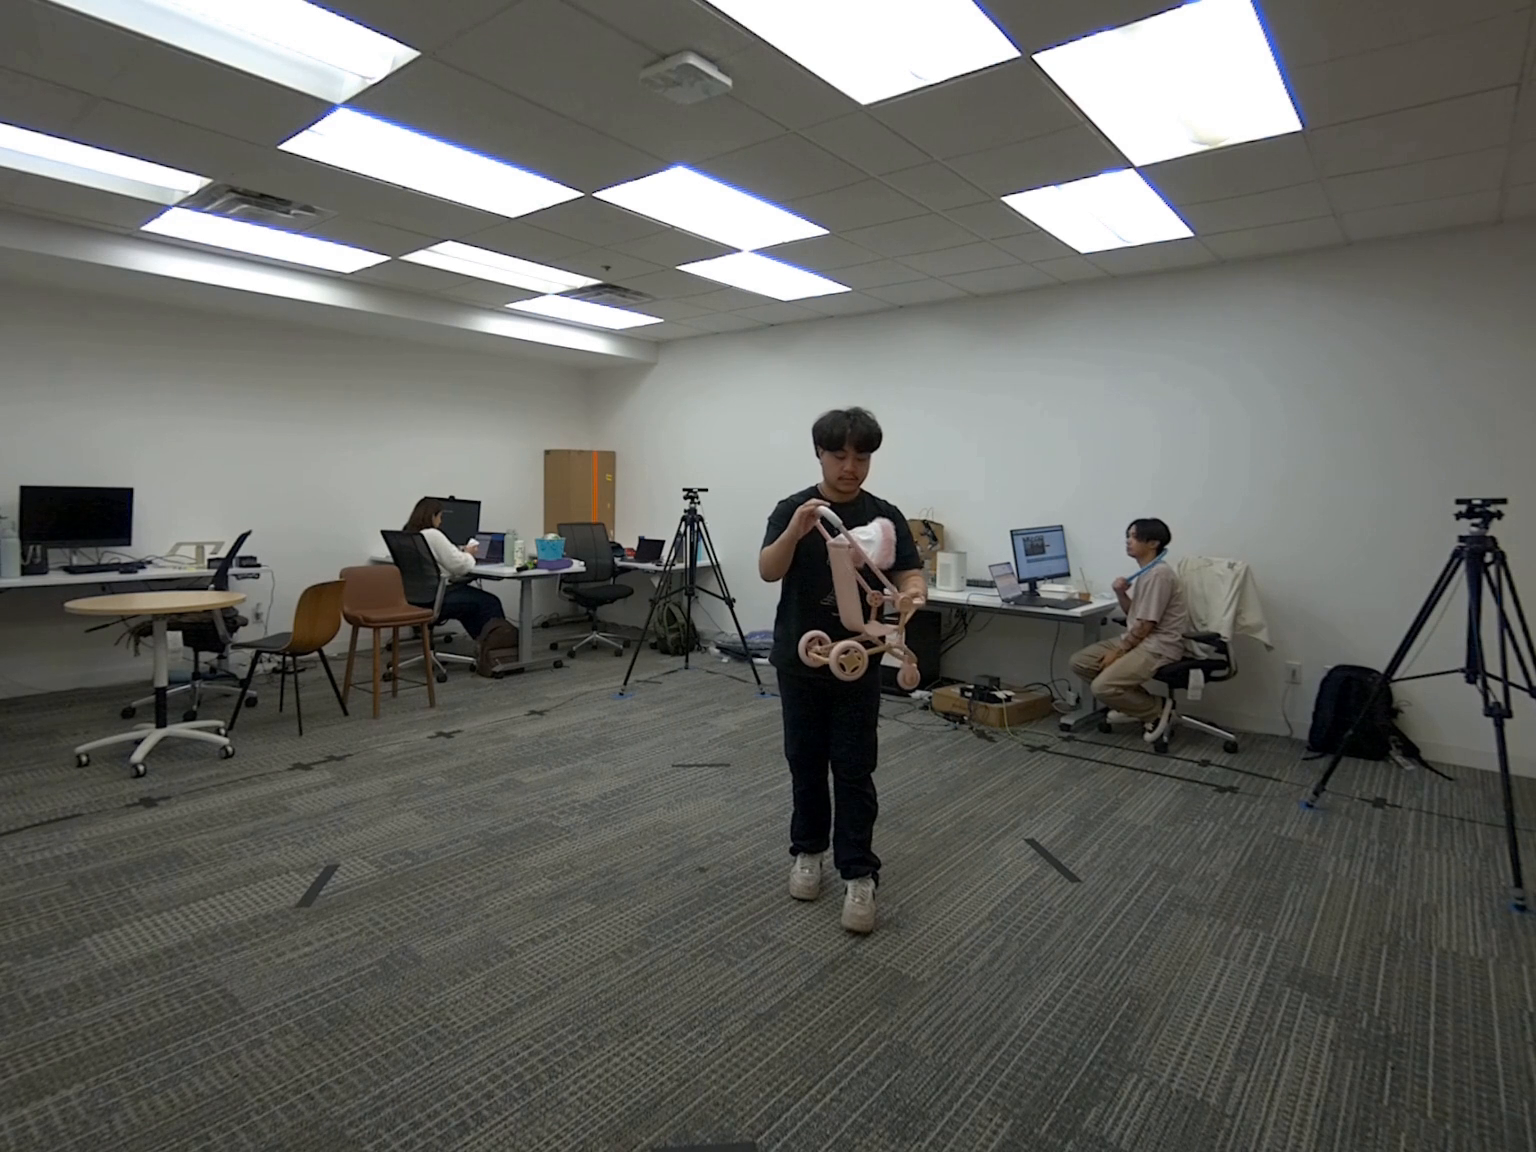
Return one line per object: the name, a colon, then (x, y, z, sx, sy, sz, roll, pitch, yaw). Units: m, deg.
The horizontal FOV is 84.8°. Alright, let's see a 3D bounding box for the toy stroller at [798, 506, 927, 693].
toy stroller: (0.285, 0.068, 2.480, 0.337, 0.535, 0.285, 1, -1, -12)
